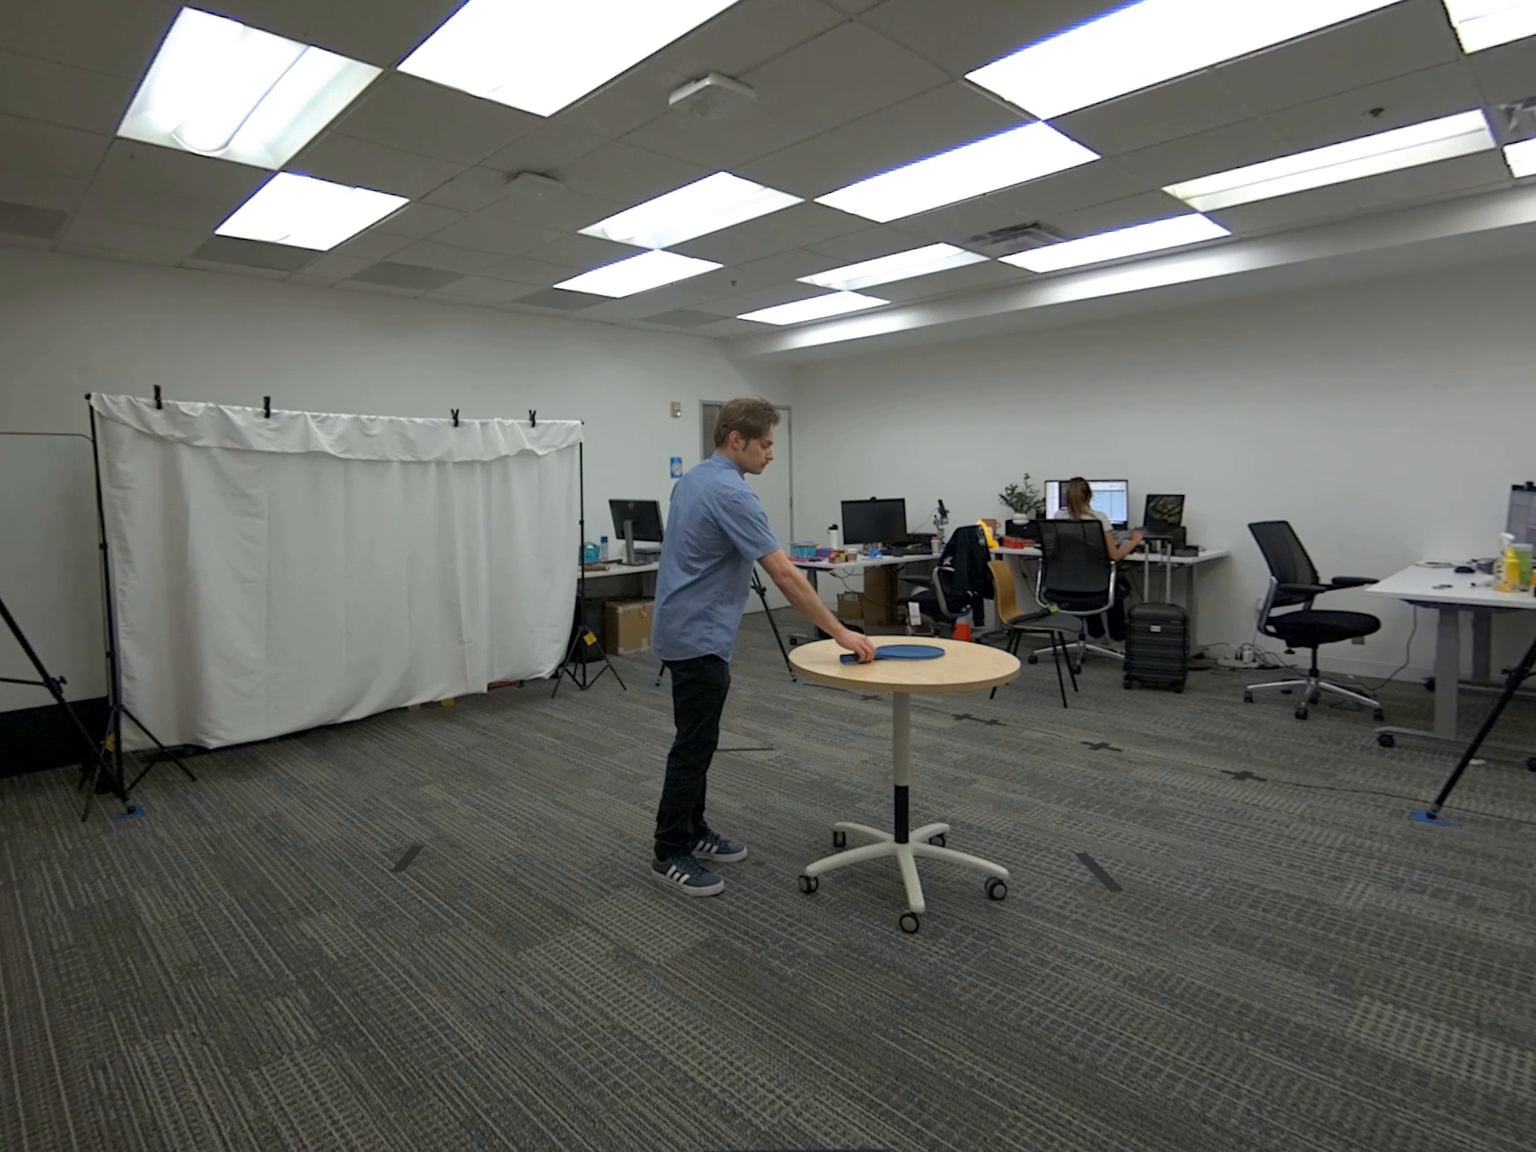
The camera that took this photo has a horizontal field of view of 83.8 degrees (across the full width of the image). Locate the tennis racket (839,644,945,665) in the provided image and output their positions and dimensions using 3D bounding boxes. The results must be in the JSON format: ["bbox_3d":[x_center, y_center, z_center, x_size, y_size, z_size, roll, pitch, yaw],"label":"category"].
[{"bbox_3d":[0.429,0.266,2.909,0.422,0.031,0.220,-3,7,-32],"label":"tennis racket"}]
